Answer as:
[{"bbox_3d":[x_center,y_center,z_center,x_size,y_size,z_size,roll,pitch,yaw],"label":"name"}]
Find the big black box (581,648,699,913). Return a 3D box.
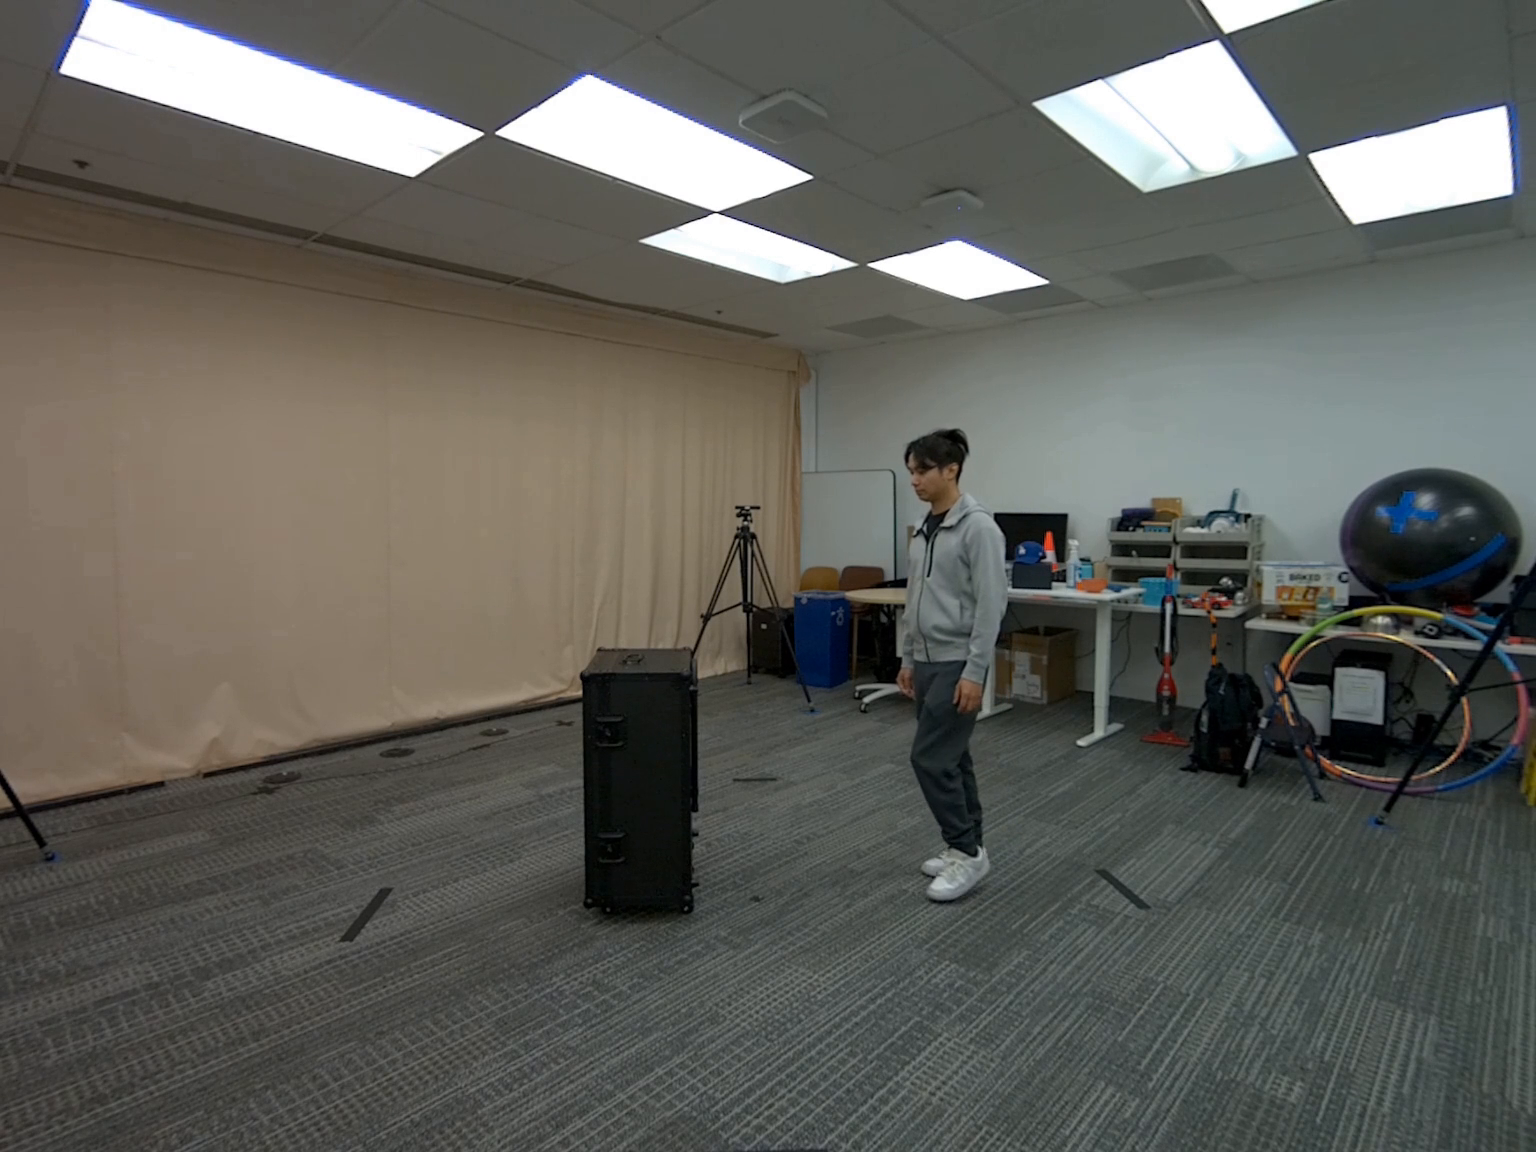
[{"bbox_3d":[-0.441,0.726,3.008,0.395,0.860,0.523,0,2,-4],"label":"big black box"}]
